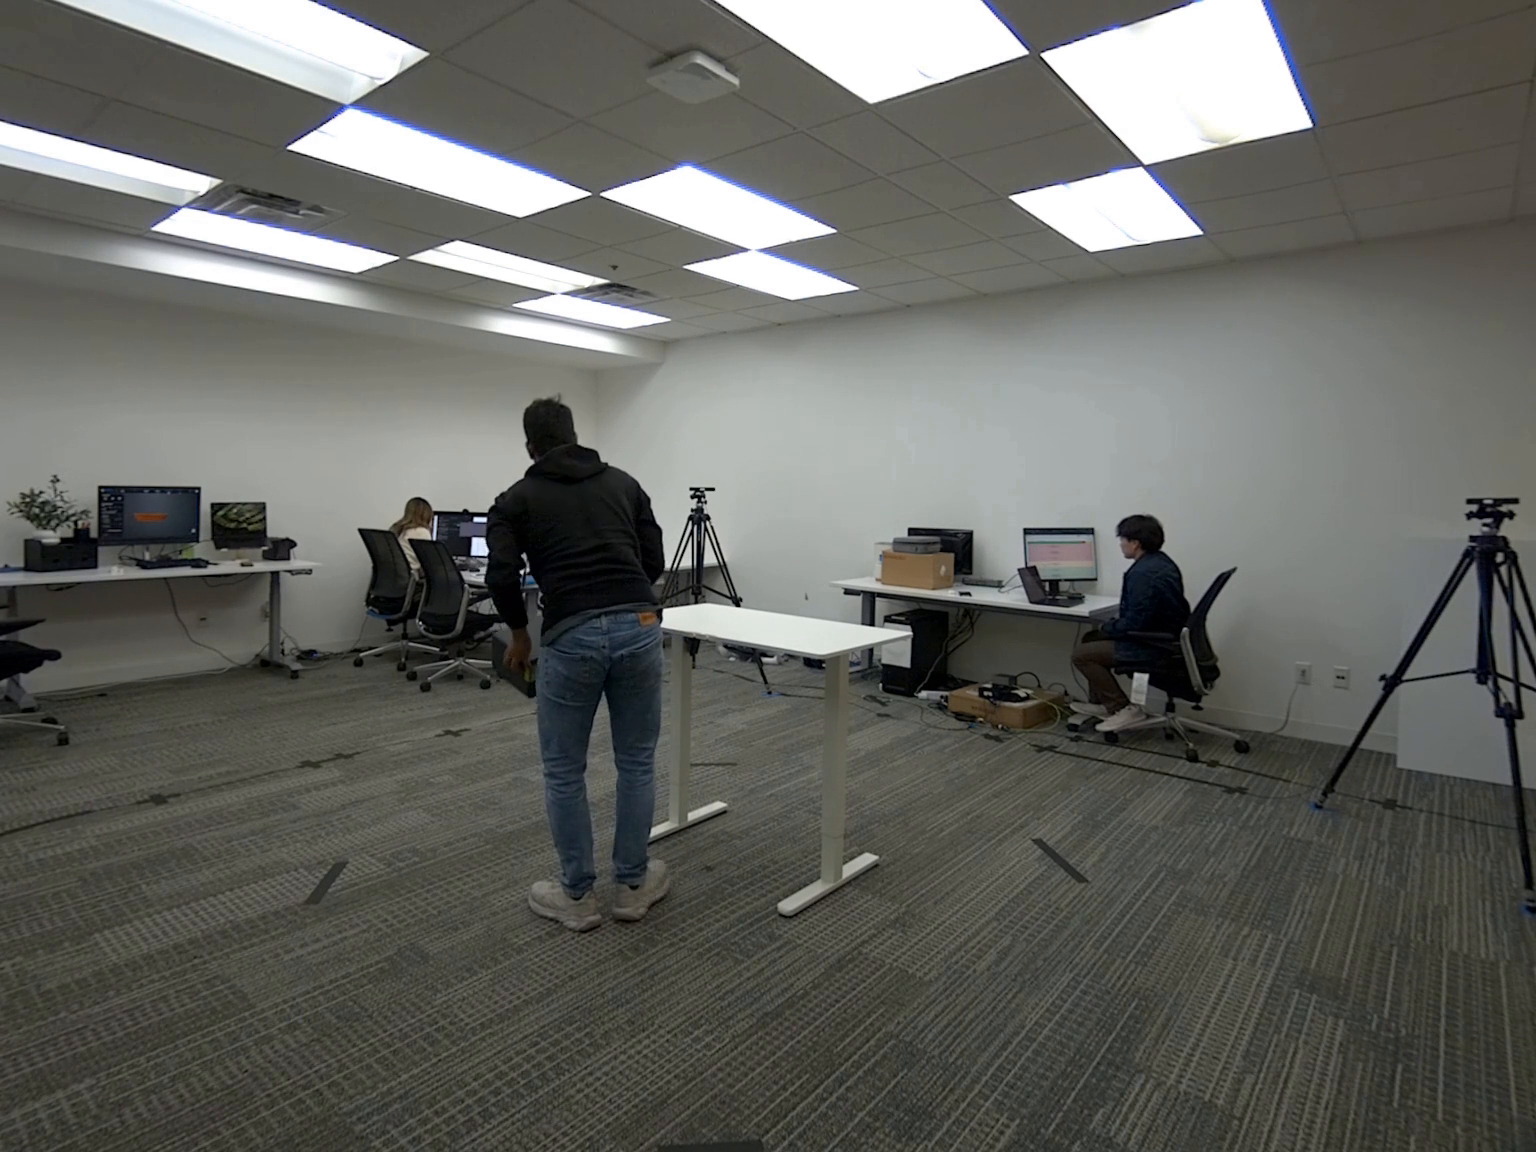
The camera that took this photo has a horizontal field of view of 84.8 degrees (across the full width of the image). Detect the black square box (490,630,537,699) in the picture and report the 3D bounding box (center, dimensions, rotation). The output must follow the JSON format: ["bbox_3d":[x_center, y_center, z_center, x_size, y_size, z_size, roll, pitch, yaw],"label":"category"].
[{"bbox_3d":[-0.809,0.279,2.981,0.225,0.153,0.223,27,32,32],"label":"black square box"}]
